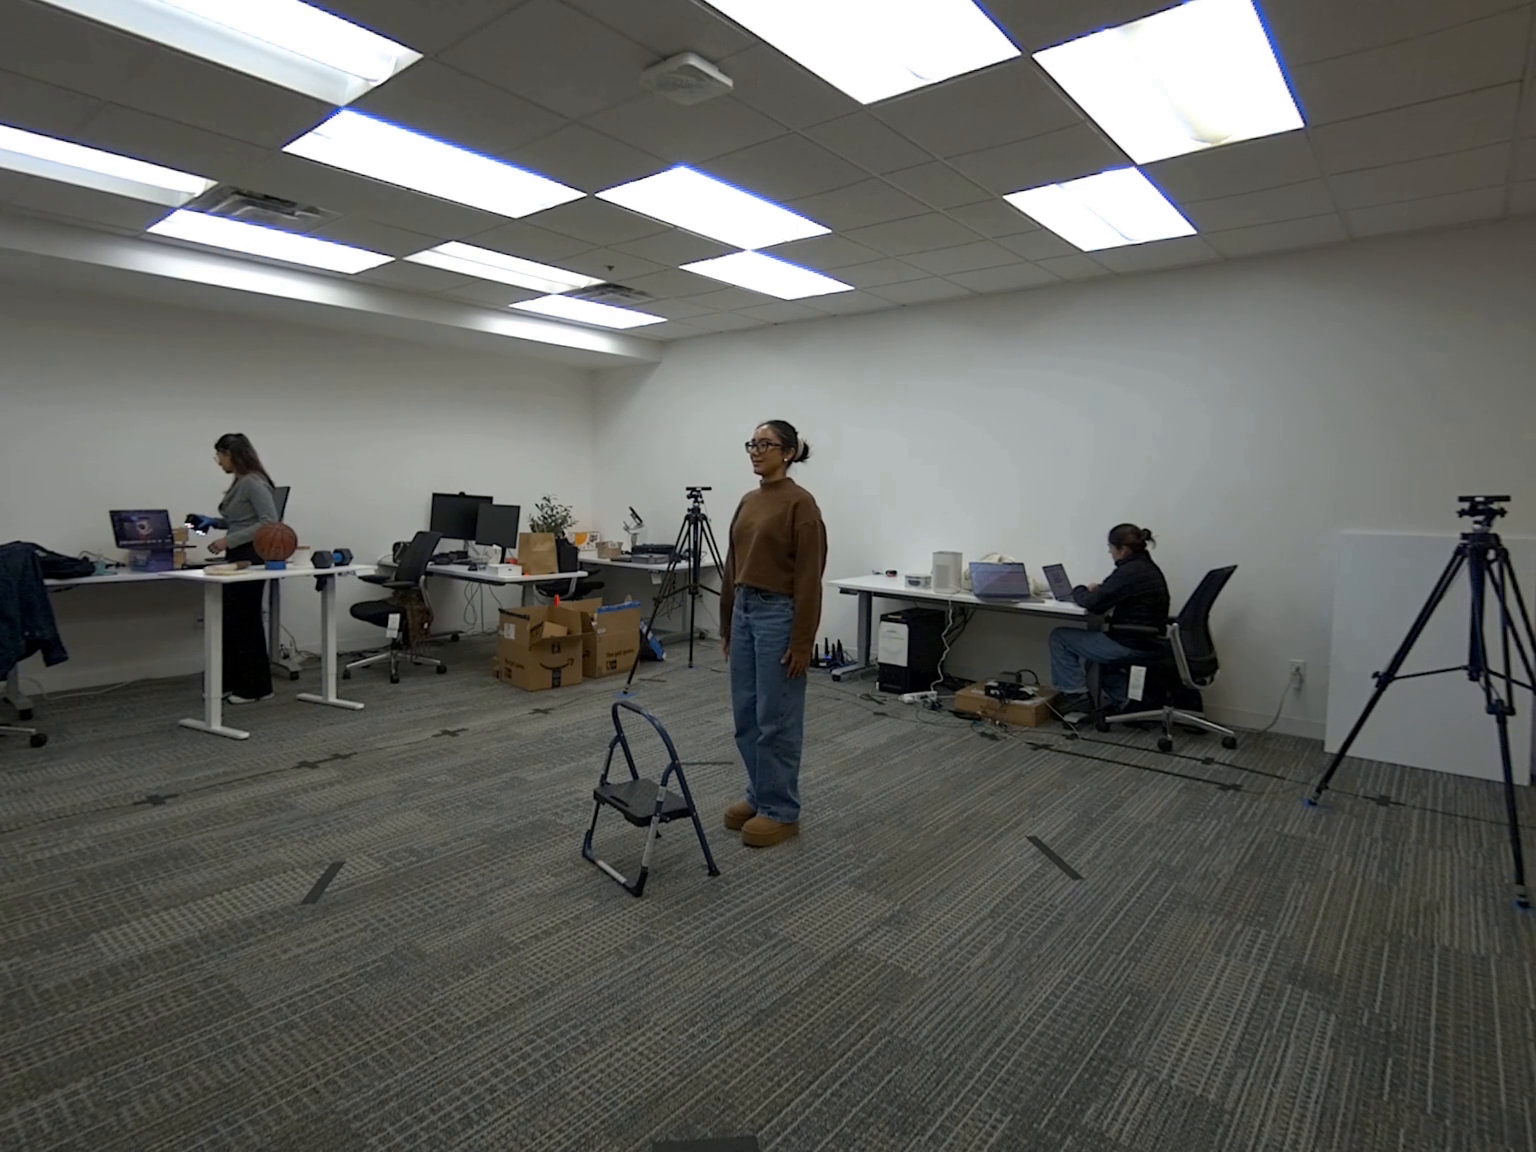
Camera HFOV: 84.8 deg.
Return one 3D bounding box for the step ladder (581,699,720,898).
[{"bbox_3d":[-0.444,0.756,3.116,0.339,0.604,0.445,-2,5,-39],"label":"step ladder"}]
